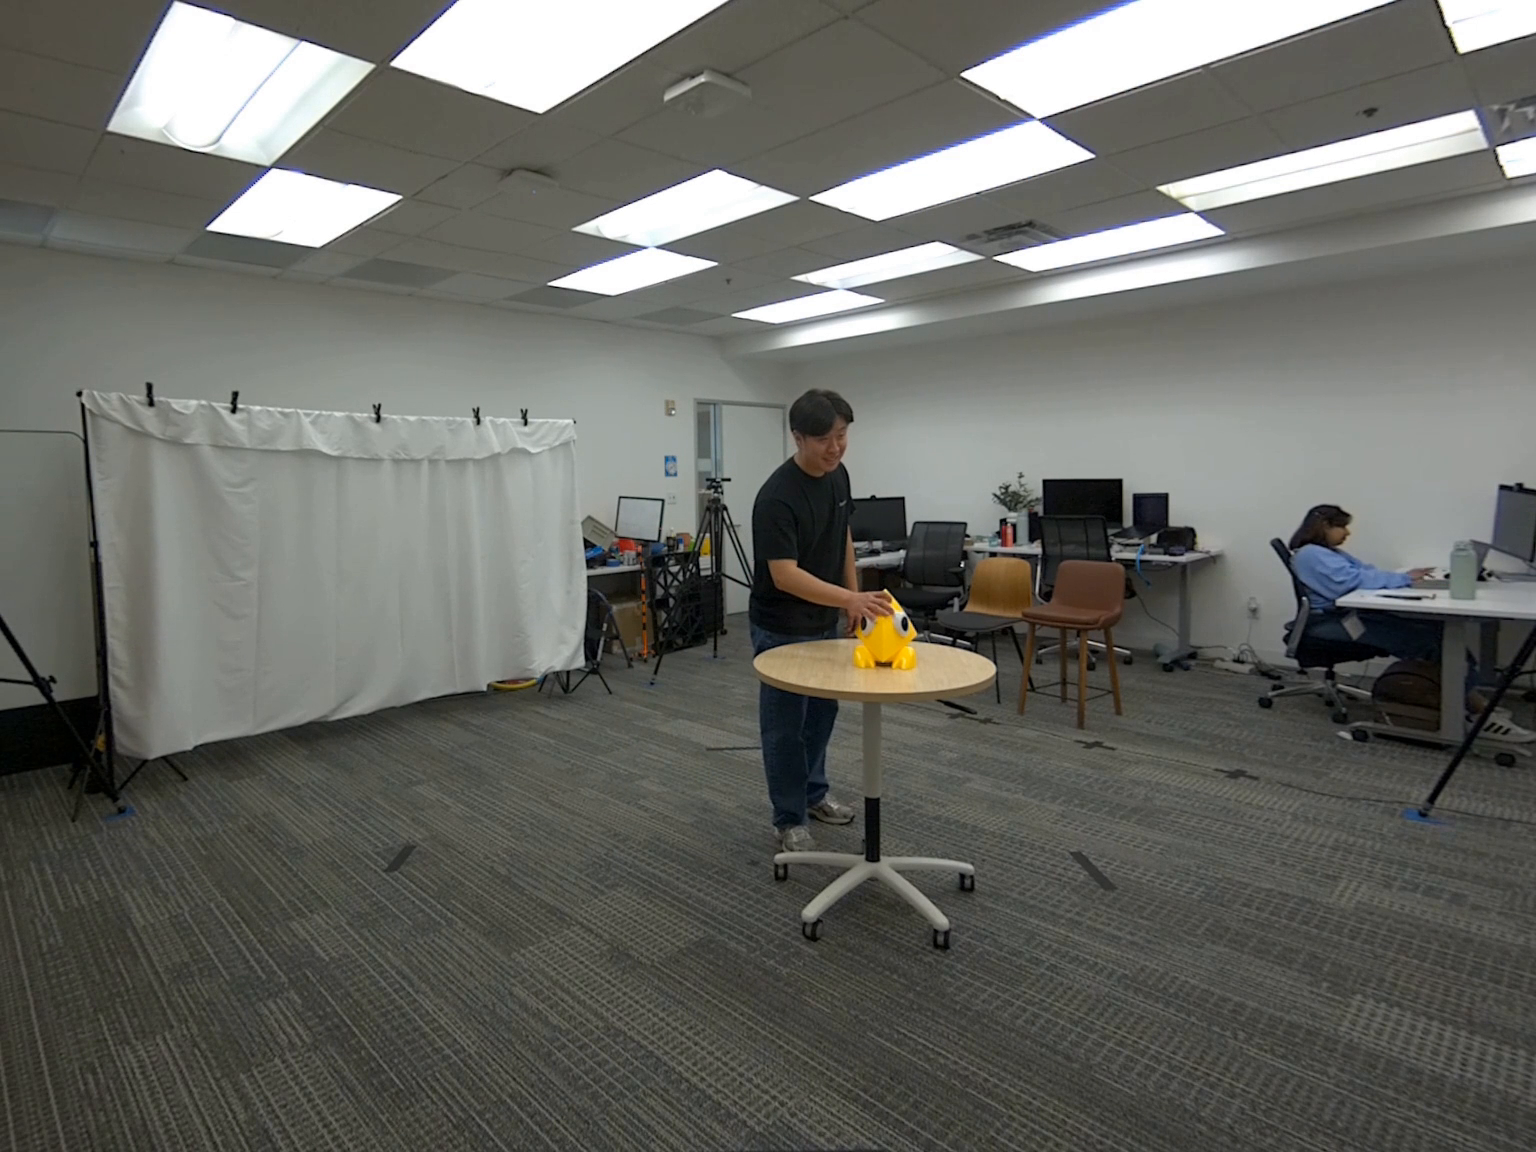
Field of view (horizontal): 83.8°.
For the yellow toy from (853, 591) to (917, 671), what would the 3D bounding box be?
[{"bbox_3d":[0.376,0.168,2.736,0.207,0.229,0.191,-1,6,13],"label":"yellow toy"}]
